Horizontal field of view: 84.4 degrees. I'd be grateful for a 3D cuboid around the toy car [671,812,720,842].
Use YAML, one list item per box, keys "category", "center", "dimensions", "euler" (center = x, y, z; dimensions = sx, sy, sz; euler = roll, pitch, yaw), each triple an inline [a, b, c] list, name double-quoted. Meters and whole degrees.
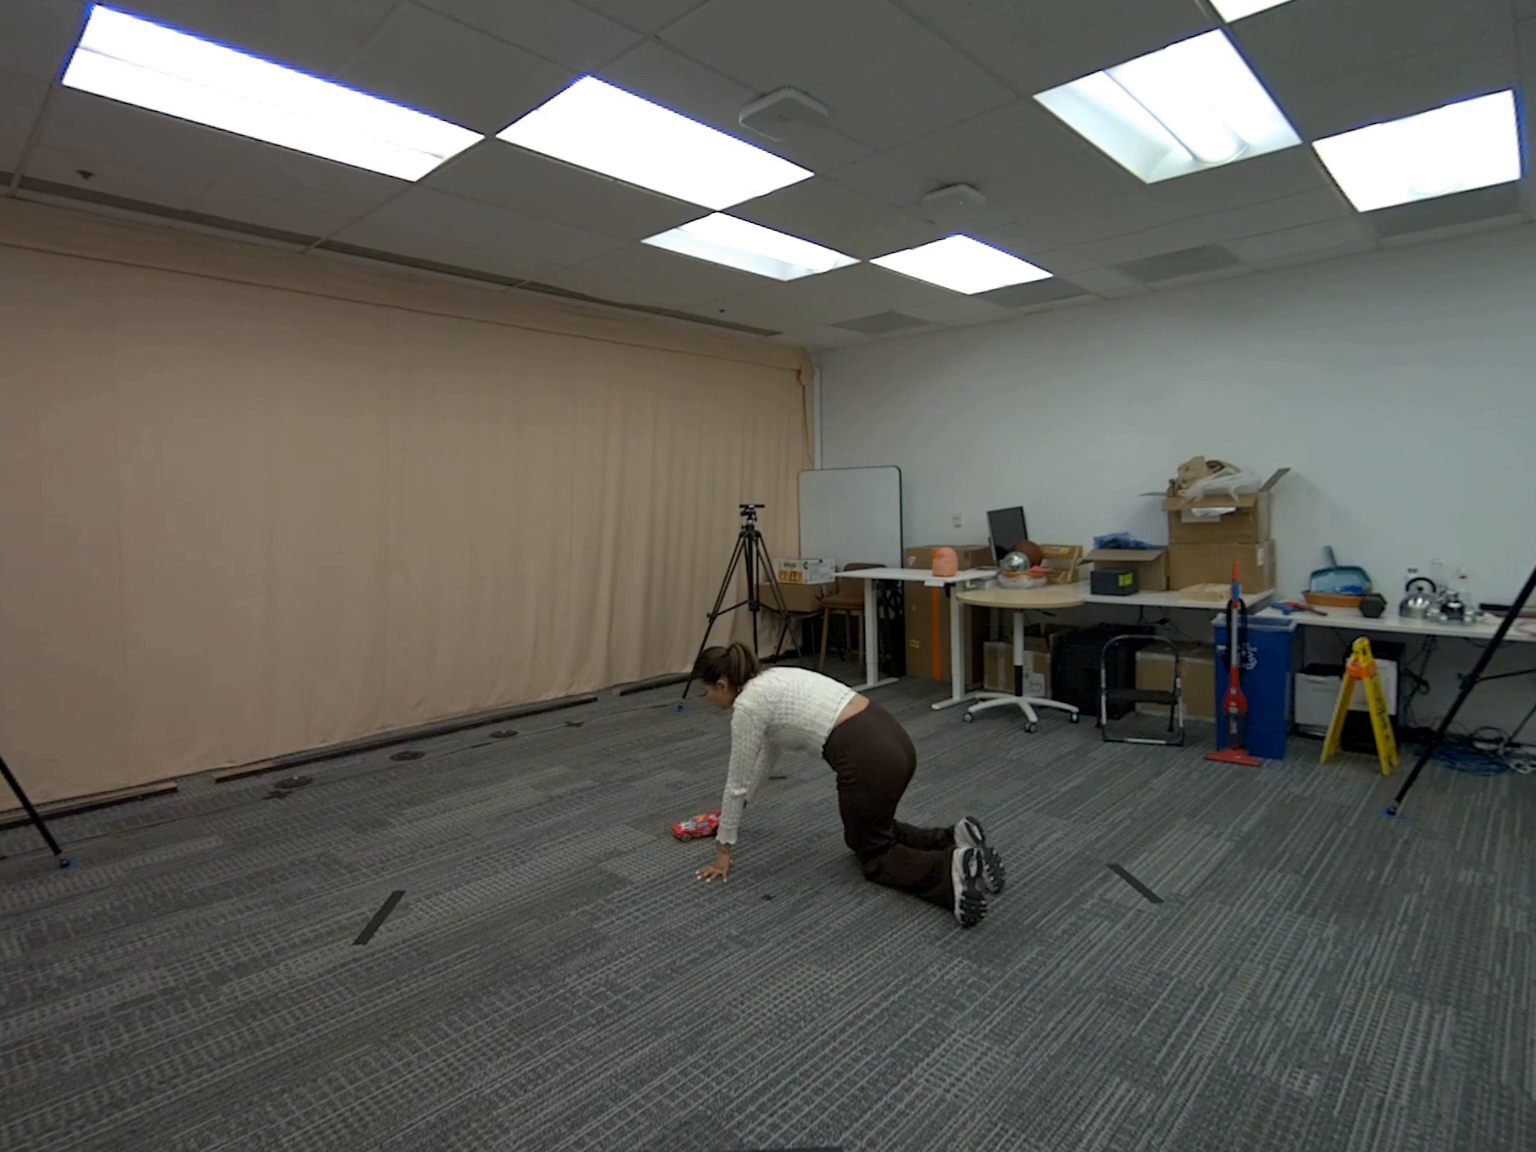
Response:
- category: "toy car"
  center: [-0.280, 1.067, 3.570]
  dimensions: [0.250, 0.082, 0.133]
  euler: [-14, 9, -21]
